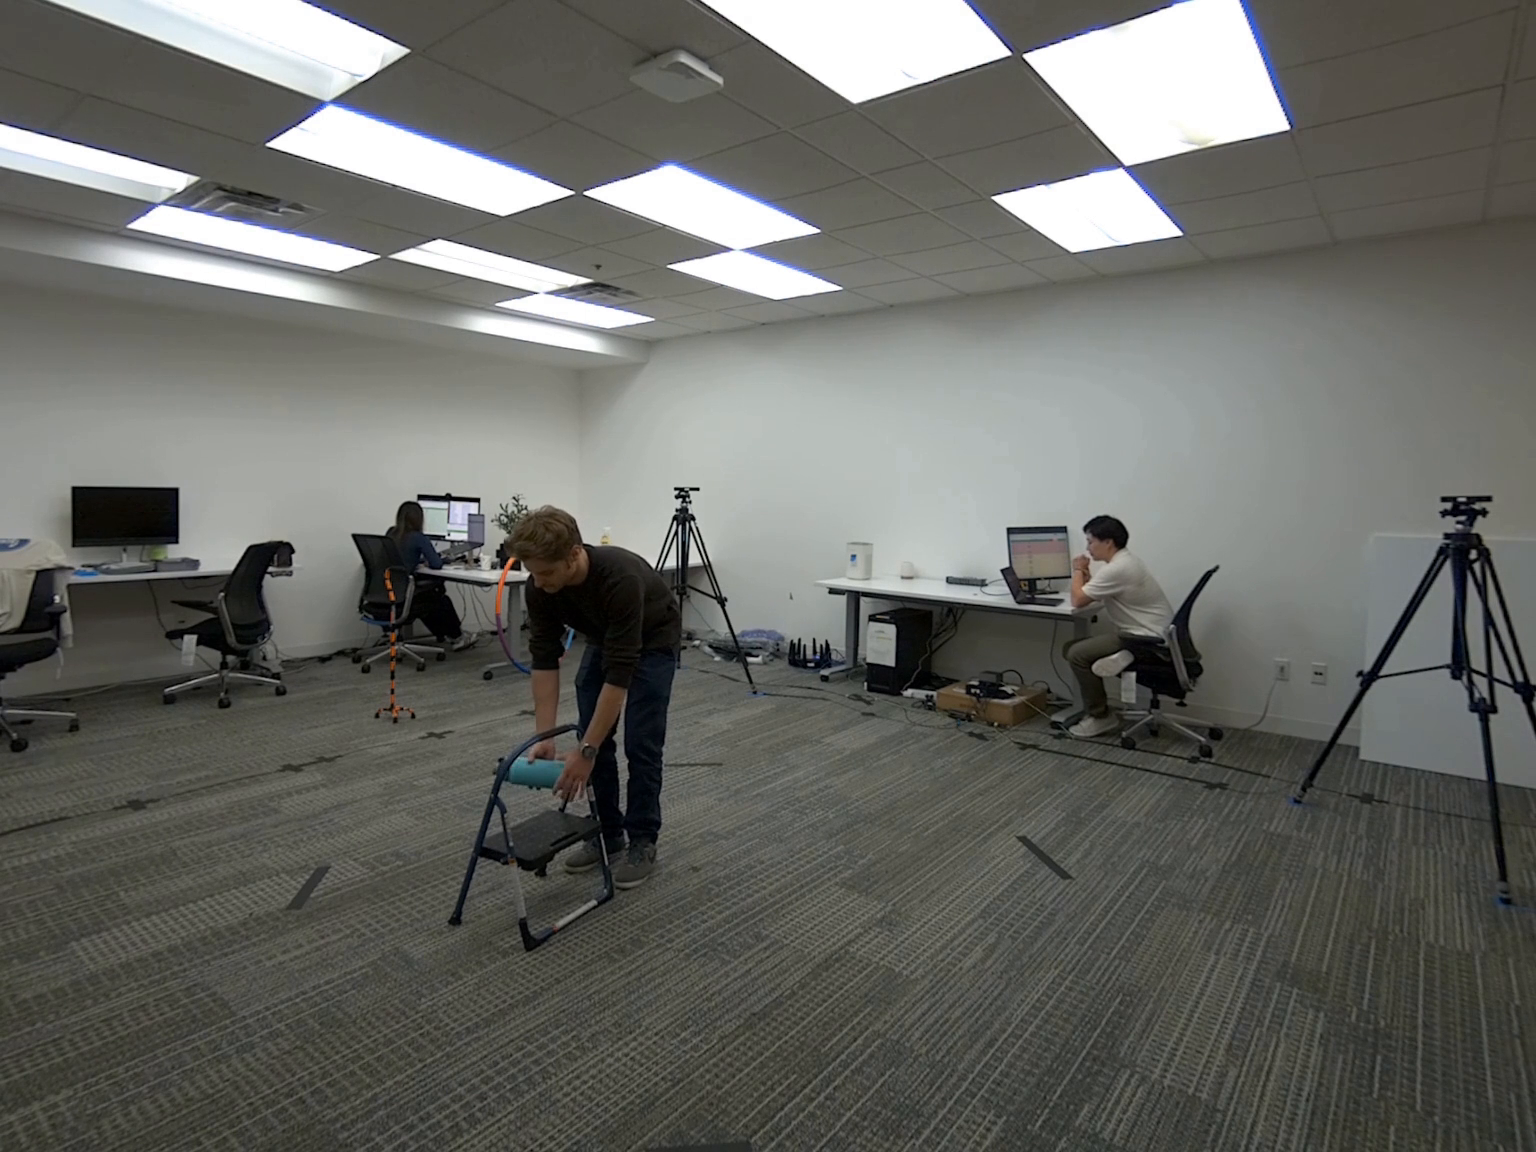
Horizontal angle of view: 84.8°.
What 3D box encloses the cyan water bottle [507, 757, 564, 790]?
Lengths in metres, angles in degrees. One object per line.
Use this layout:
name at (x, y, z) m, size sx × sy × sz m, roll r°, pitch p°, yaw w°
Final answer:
cyan water bottle at (-0.791, 0.644, 2.801) m, size 0.279 × 0.092 × 0.094 m, roll 9°, pitch 2°, yaw -12°
